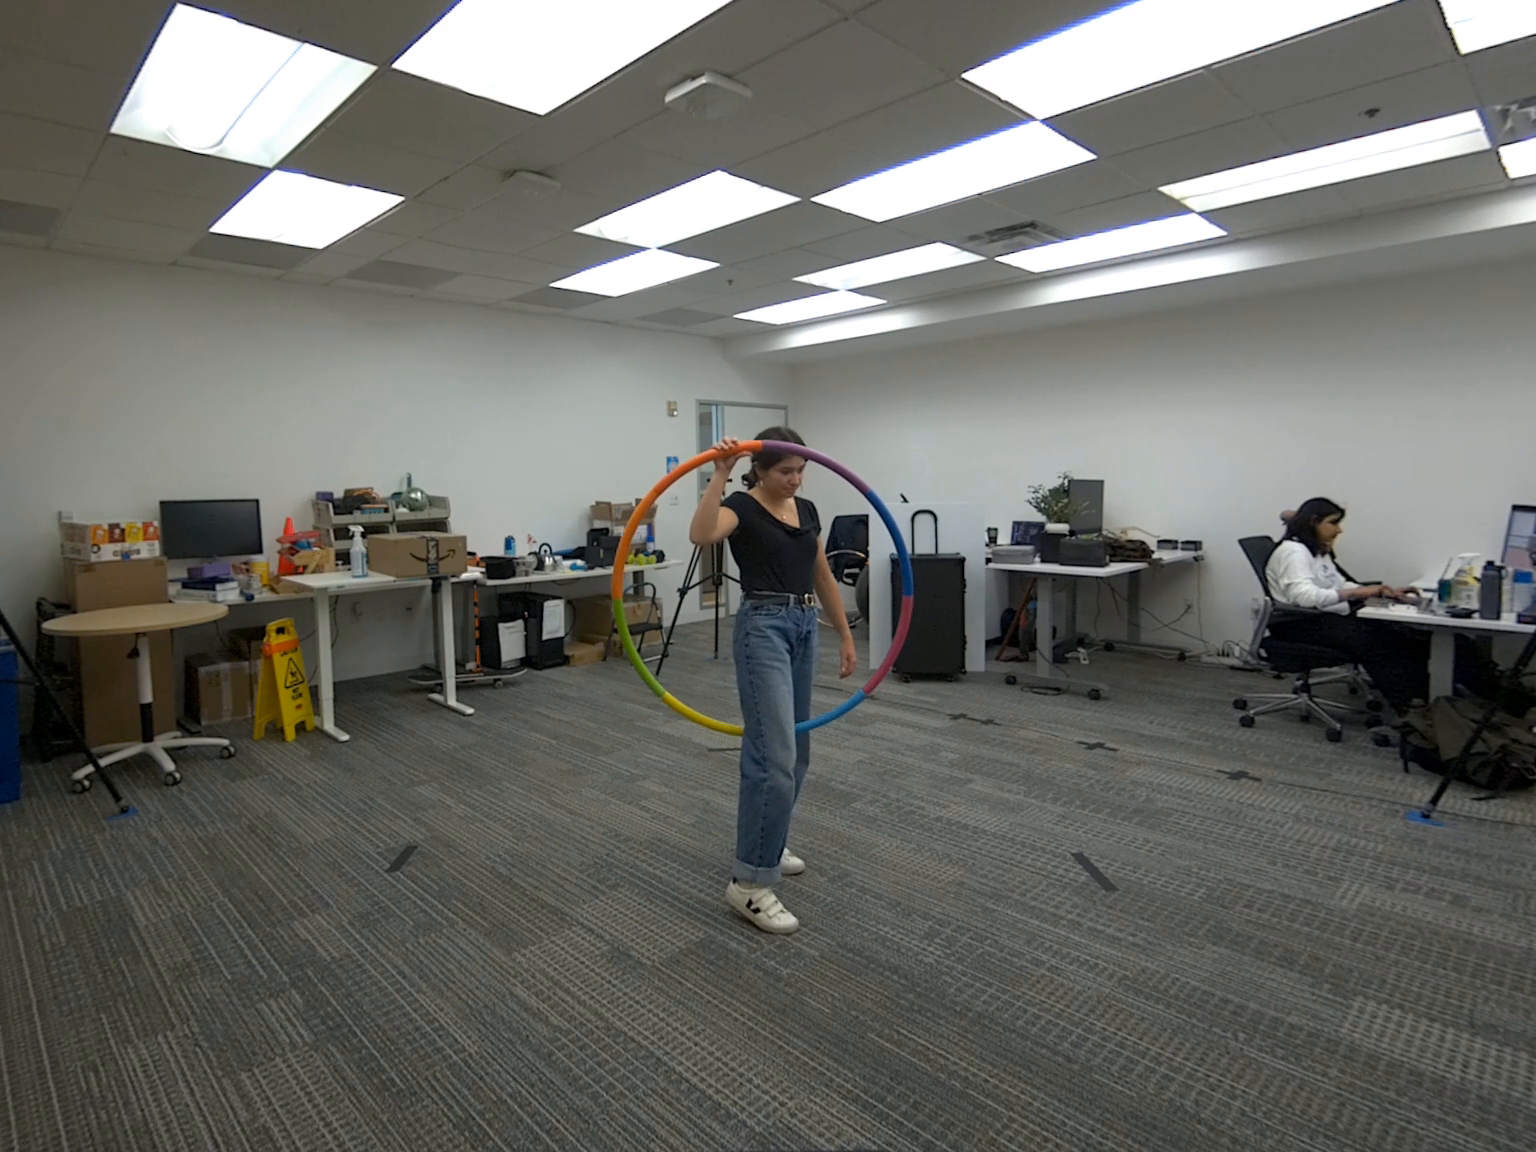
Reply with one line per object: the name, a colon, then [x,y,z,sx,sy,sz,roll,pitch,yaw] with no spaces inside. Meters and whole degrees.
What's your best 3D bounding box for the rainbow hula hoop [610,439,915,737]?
rainbow hula hoop: [-0.018,0.048,2.772,0.978,0.968,0.036,-1,12,0]
